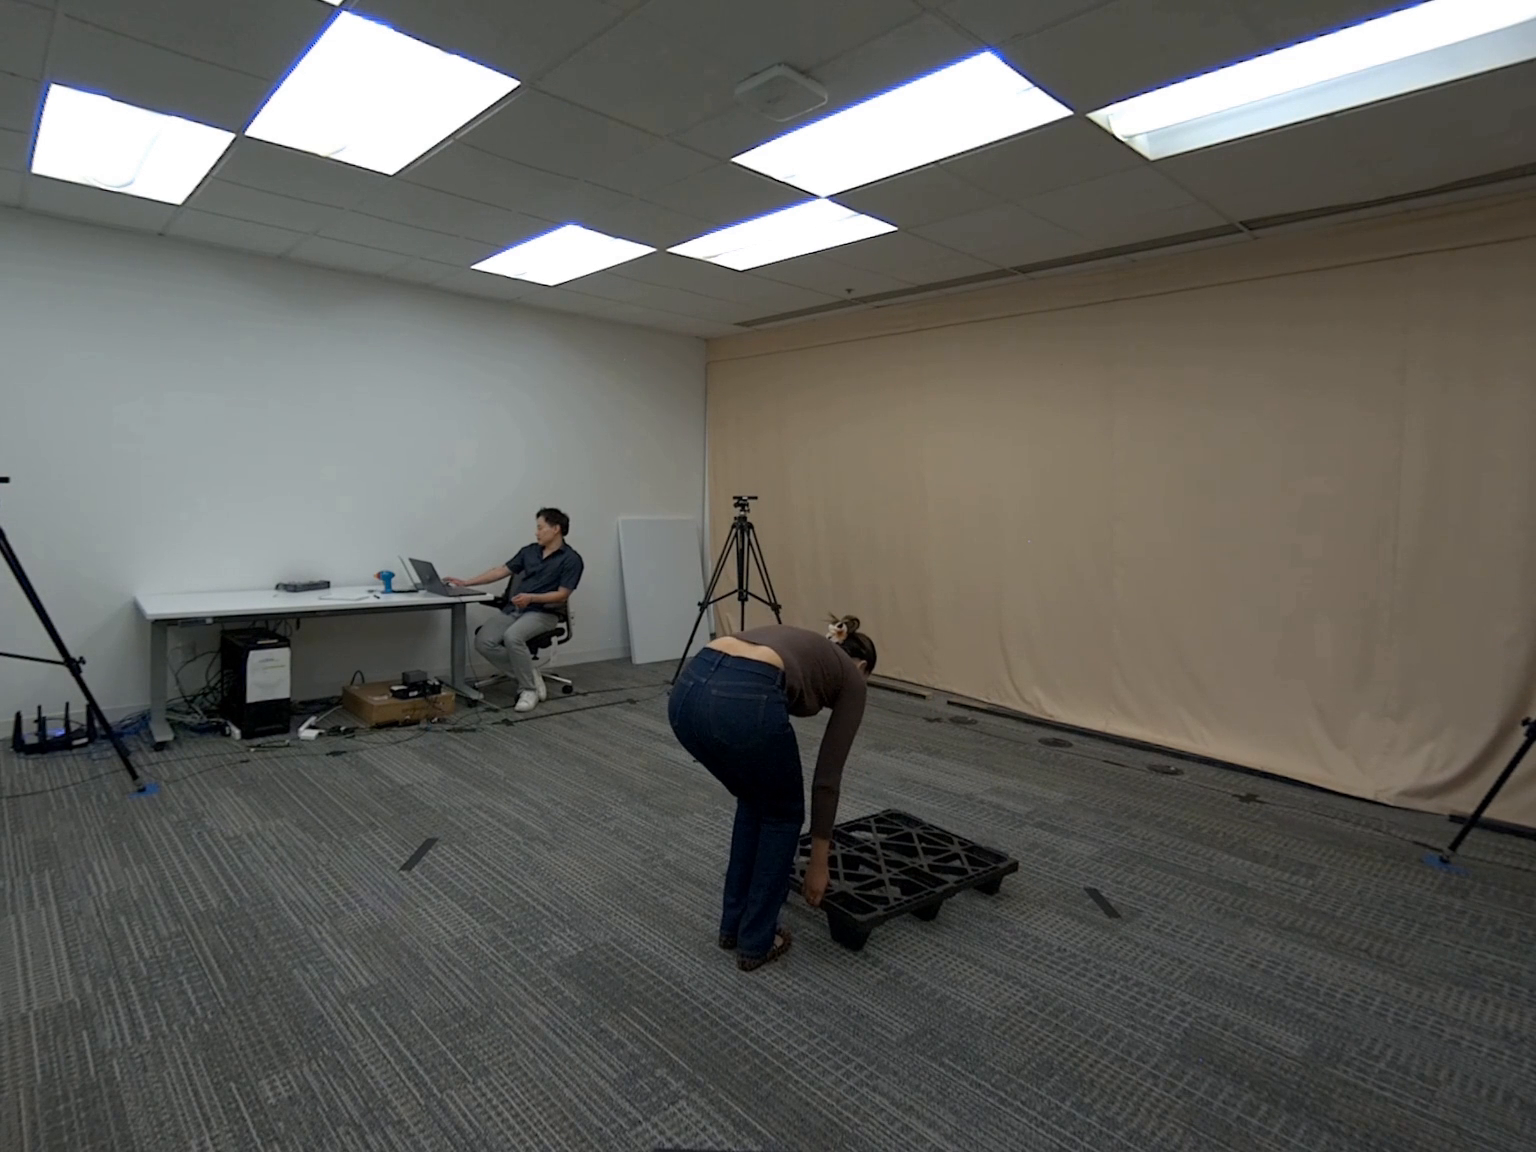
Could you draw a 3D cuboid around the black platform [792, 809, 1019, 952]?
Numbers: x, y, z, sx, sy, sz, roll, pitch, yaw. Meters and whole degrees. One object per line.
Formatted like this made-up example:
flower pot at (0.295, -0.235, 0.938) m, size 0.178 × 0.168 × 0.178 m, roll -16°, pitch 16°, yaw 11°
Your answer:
black platform at (0.387, 1.057, 2.988) m, size 0.787 × 0.143 × 0.620 m, roll -2°, pitch 6°, yaw -38°
